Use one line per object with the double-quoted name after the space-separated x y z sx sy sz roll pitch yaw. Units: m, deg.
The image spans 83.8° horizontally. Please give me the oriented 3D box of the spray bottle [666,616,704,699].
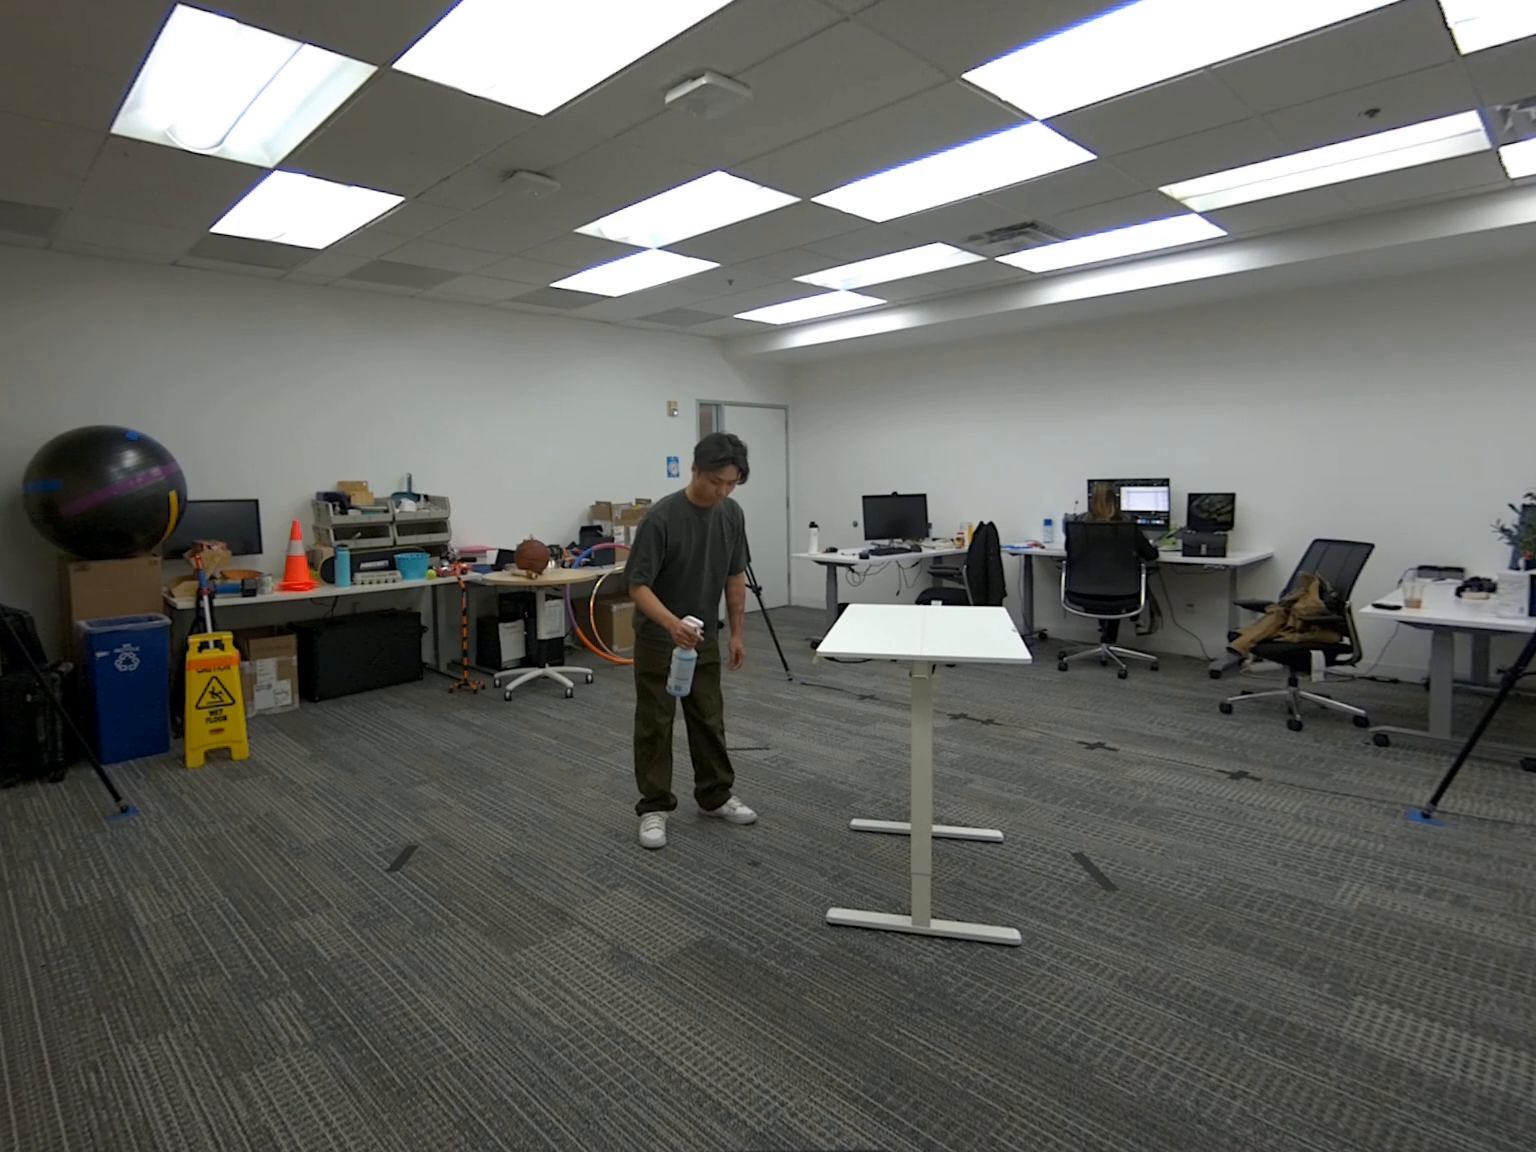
-0.303 0.288 3.052 0.085 0.294 0.093 5 19 -26 "spray bottle"
